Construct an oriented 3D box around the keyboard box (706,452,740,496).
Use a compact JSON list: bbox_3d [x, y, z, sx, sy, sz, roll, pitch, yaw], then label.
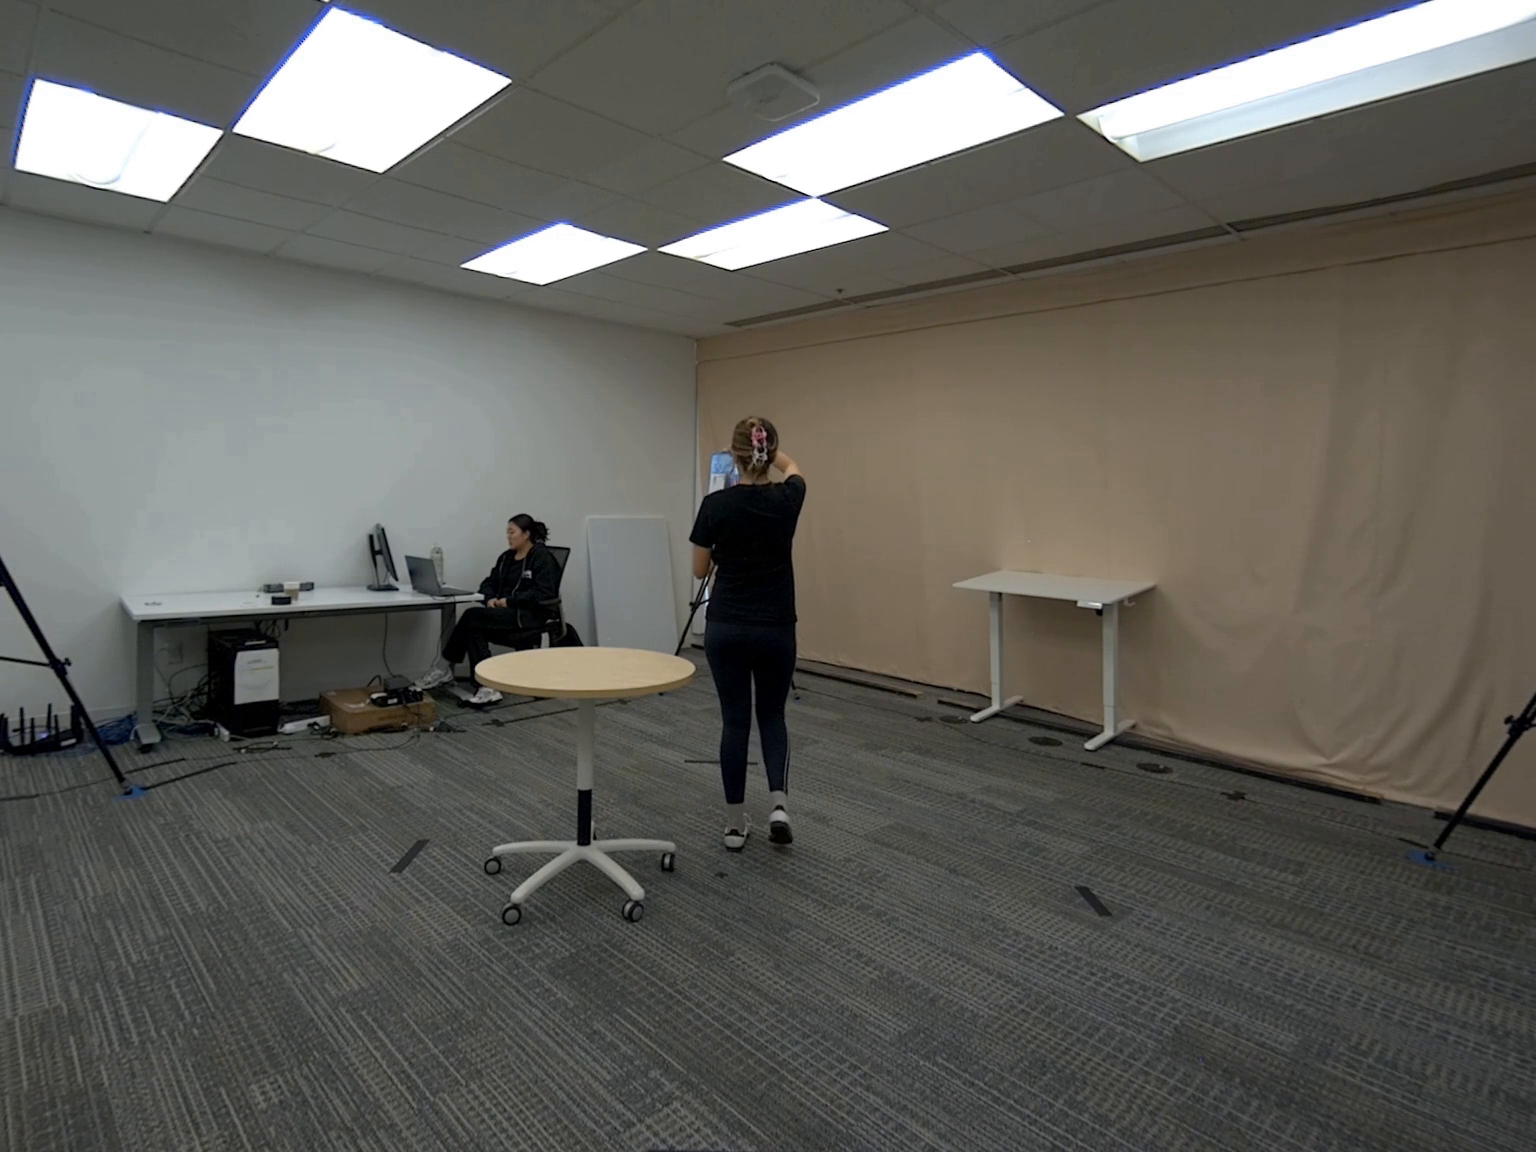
[{"bbox_3d":[-0.194,-0.334,3.789,0.180,0.438,0.057,1,-7,36],"label":"keyboard box"}]
